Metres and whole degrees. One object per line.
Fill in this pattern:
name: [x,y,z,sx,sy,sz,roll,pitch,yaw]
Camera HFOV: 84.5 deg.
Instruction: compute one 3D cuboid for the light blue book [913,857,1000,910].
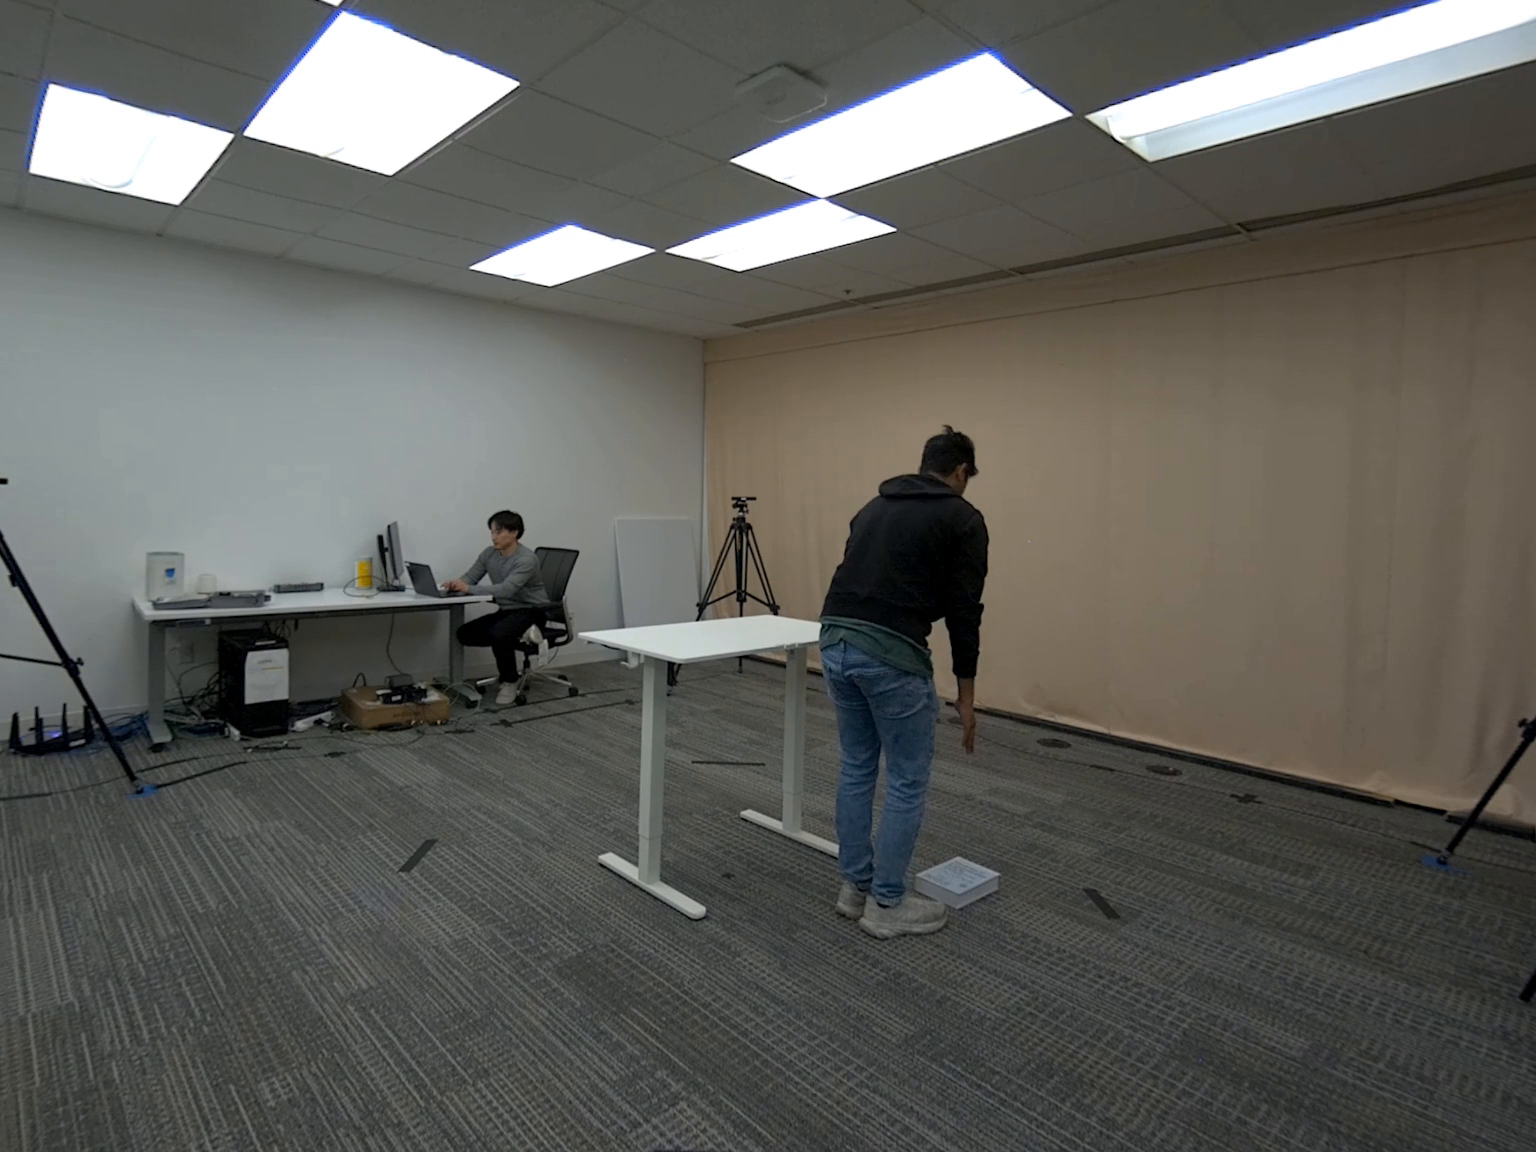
light blue book: [0.676,1.103,3.038,0.255,0.059,0.196,-3,7,-42]
